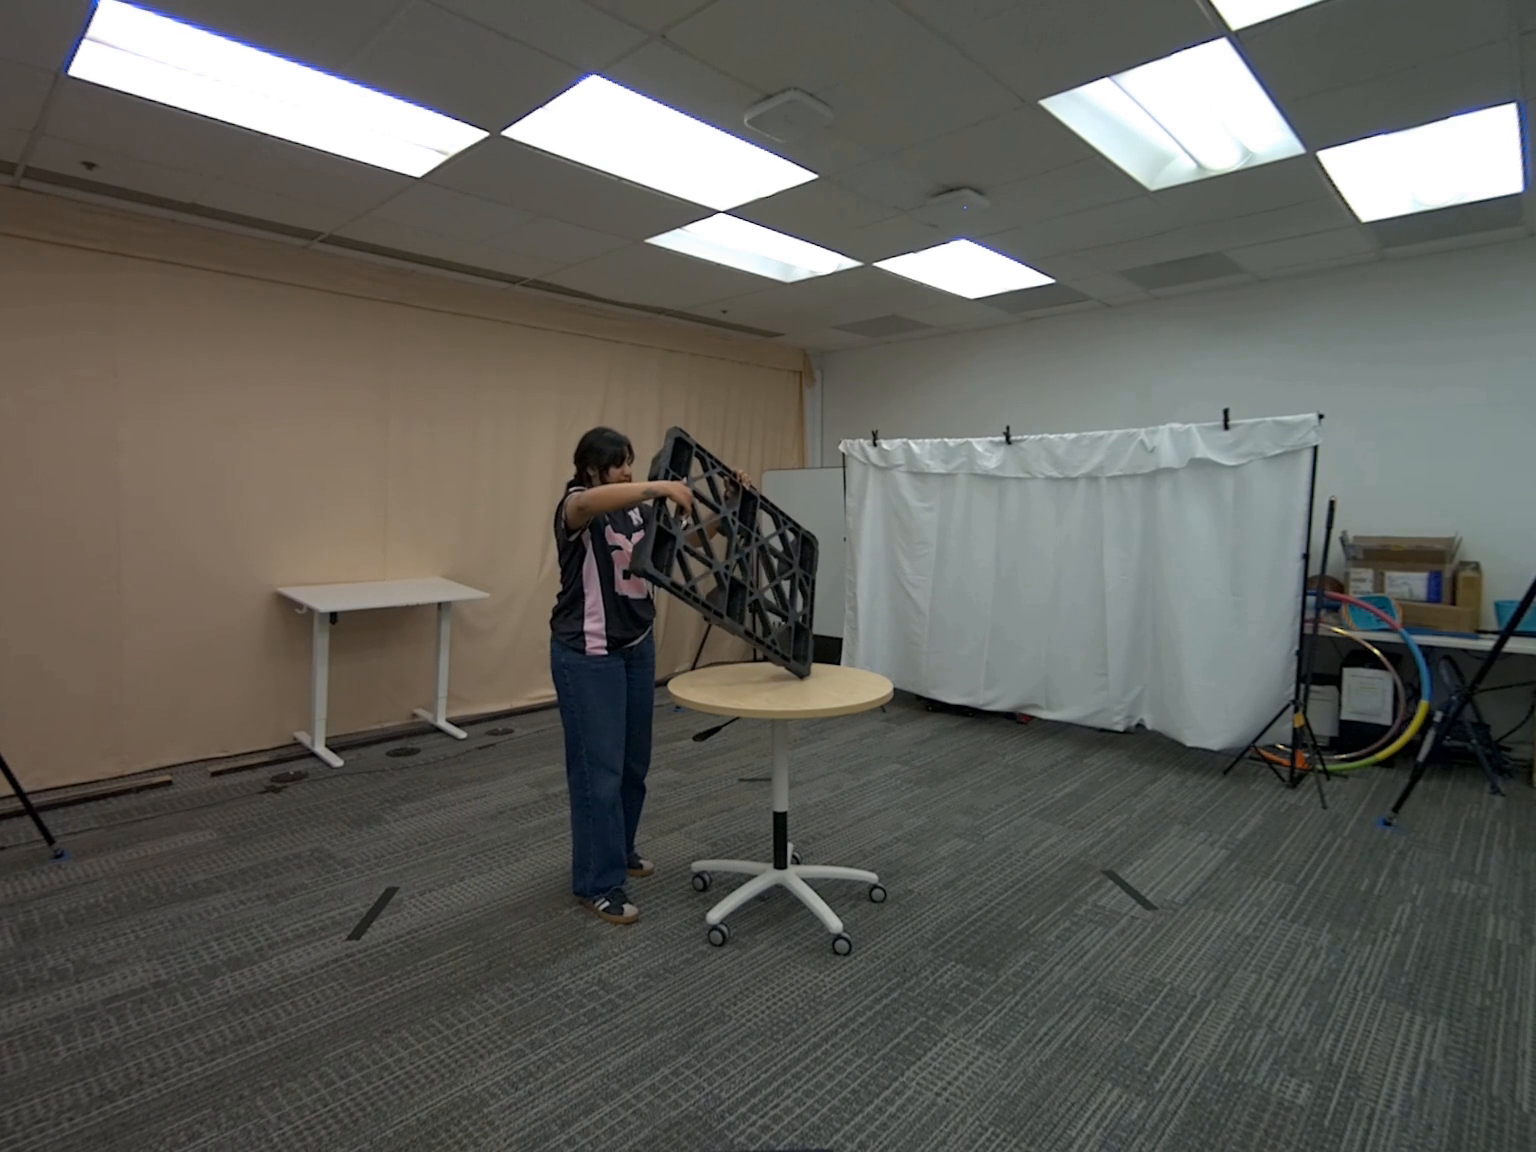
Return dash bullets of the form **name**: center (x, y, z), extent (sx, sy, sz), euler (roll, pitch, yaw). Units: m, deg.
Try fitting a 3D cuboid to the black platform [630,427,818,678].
- **black platform**: center (-0.128, -0.064, 2.922), extent (0.146, 0.613, 0.778), euler (-24, -46, 36)
